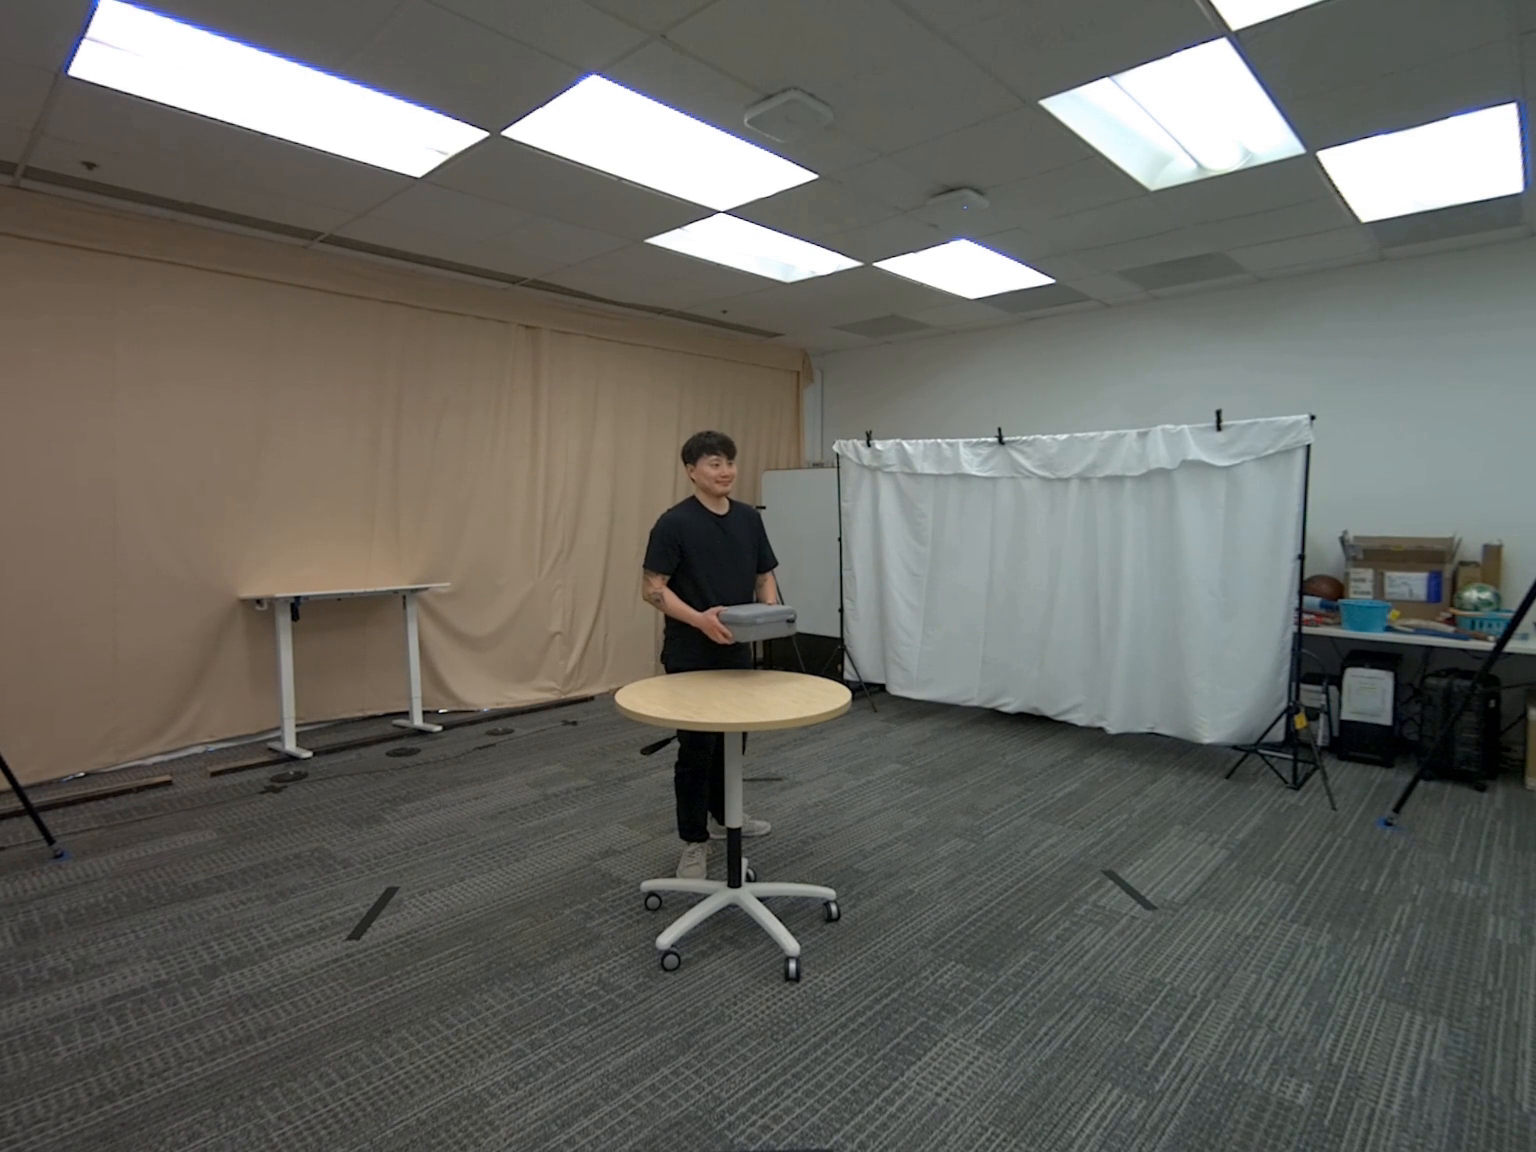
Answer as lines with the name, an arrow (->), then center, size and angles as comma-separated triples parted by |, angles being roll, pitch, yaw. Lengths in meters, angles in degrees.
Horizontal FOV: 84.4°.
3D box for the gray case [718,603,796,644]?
gray case -> -0.048, 0.165, 3.049 | 0.250, 0.104, 0.269 | -8, 7, -36
